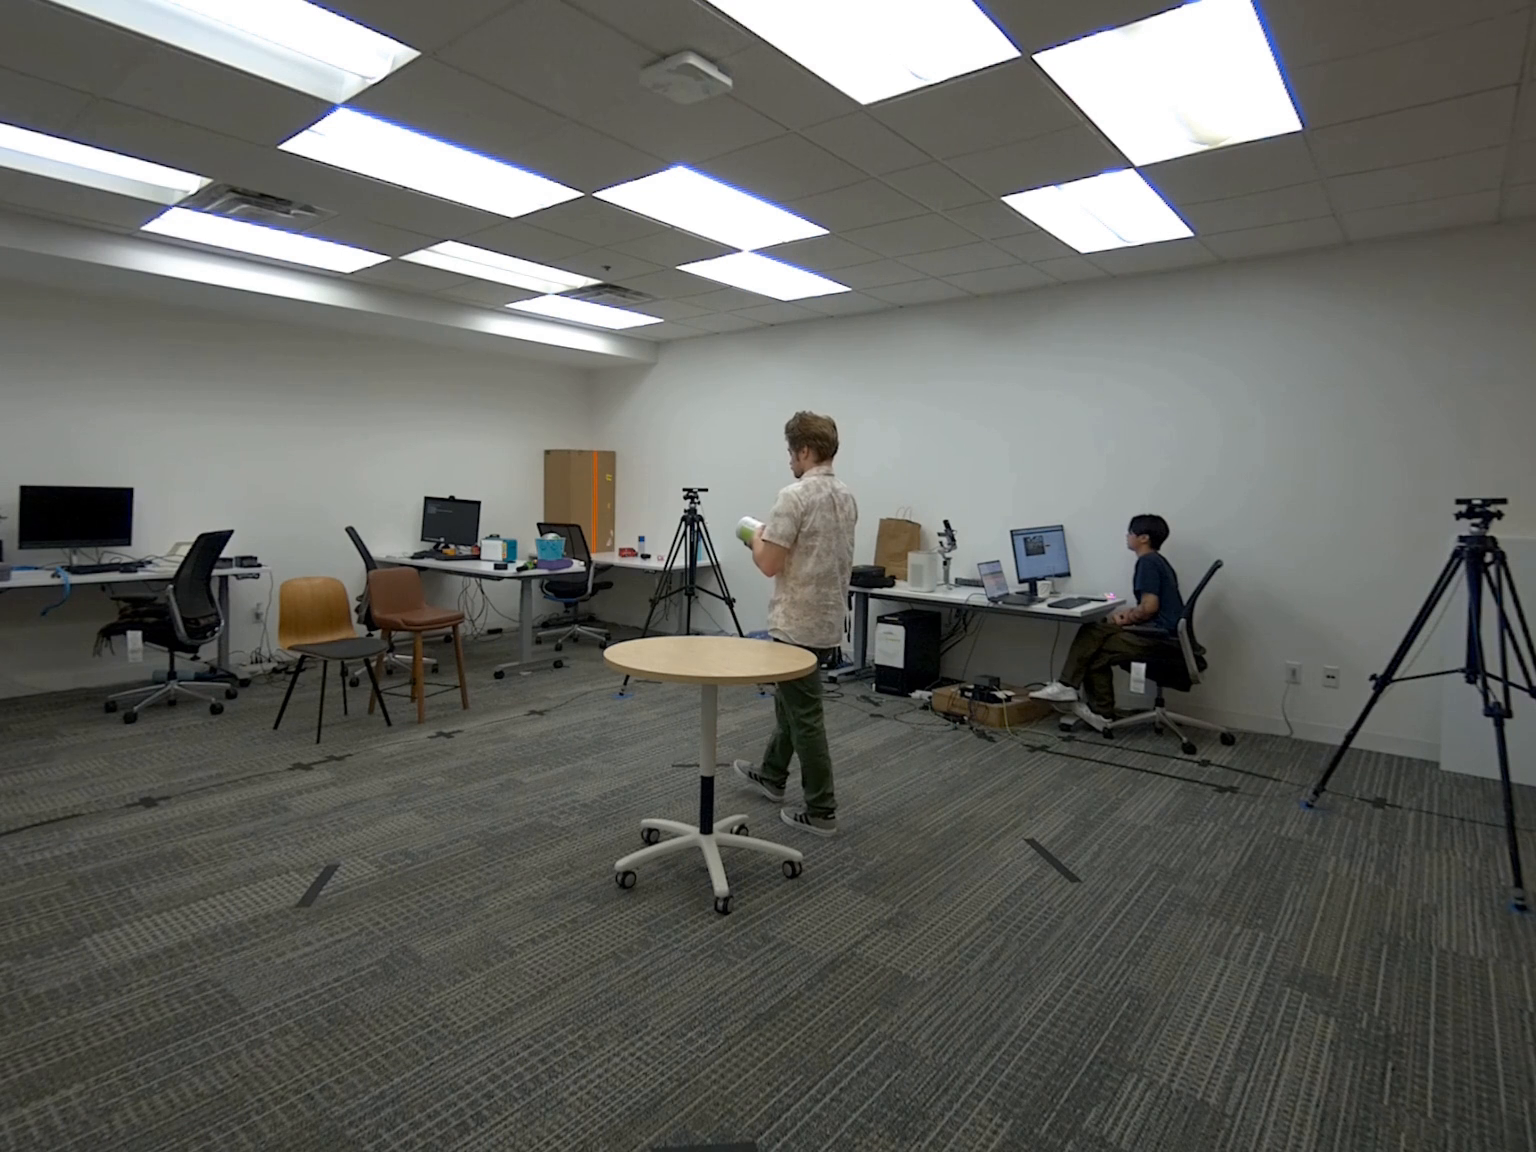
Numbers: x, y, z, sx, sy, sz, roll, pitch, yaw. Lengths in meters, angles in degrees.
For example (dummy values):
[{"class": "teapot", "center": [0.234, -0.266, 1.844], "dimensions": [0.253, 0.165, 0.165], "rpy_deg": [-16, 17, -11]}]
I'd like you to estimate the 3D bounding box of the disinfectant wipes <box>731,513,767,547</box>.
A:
[{"class": "disinfectant wipes", "center": [-0.029, -0.184, 3.714], "dimensions": [0.224, 0.117, 0.115], "rpy_deg": [24, 12, 22]}]
